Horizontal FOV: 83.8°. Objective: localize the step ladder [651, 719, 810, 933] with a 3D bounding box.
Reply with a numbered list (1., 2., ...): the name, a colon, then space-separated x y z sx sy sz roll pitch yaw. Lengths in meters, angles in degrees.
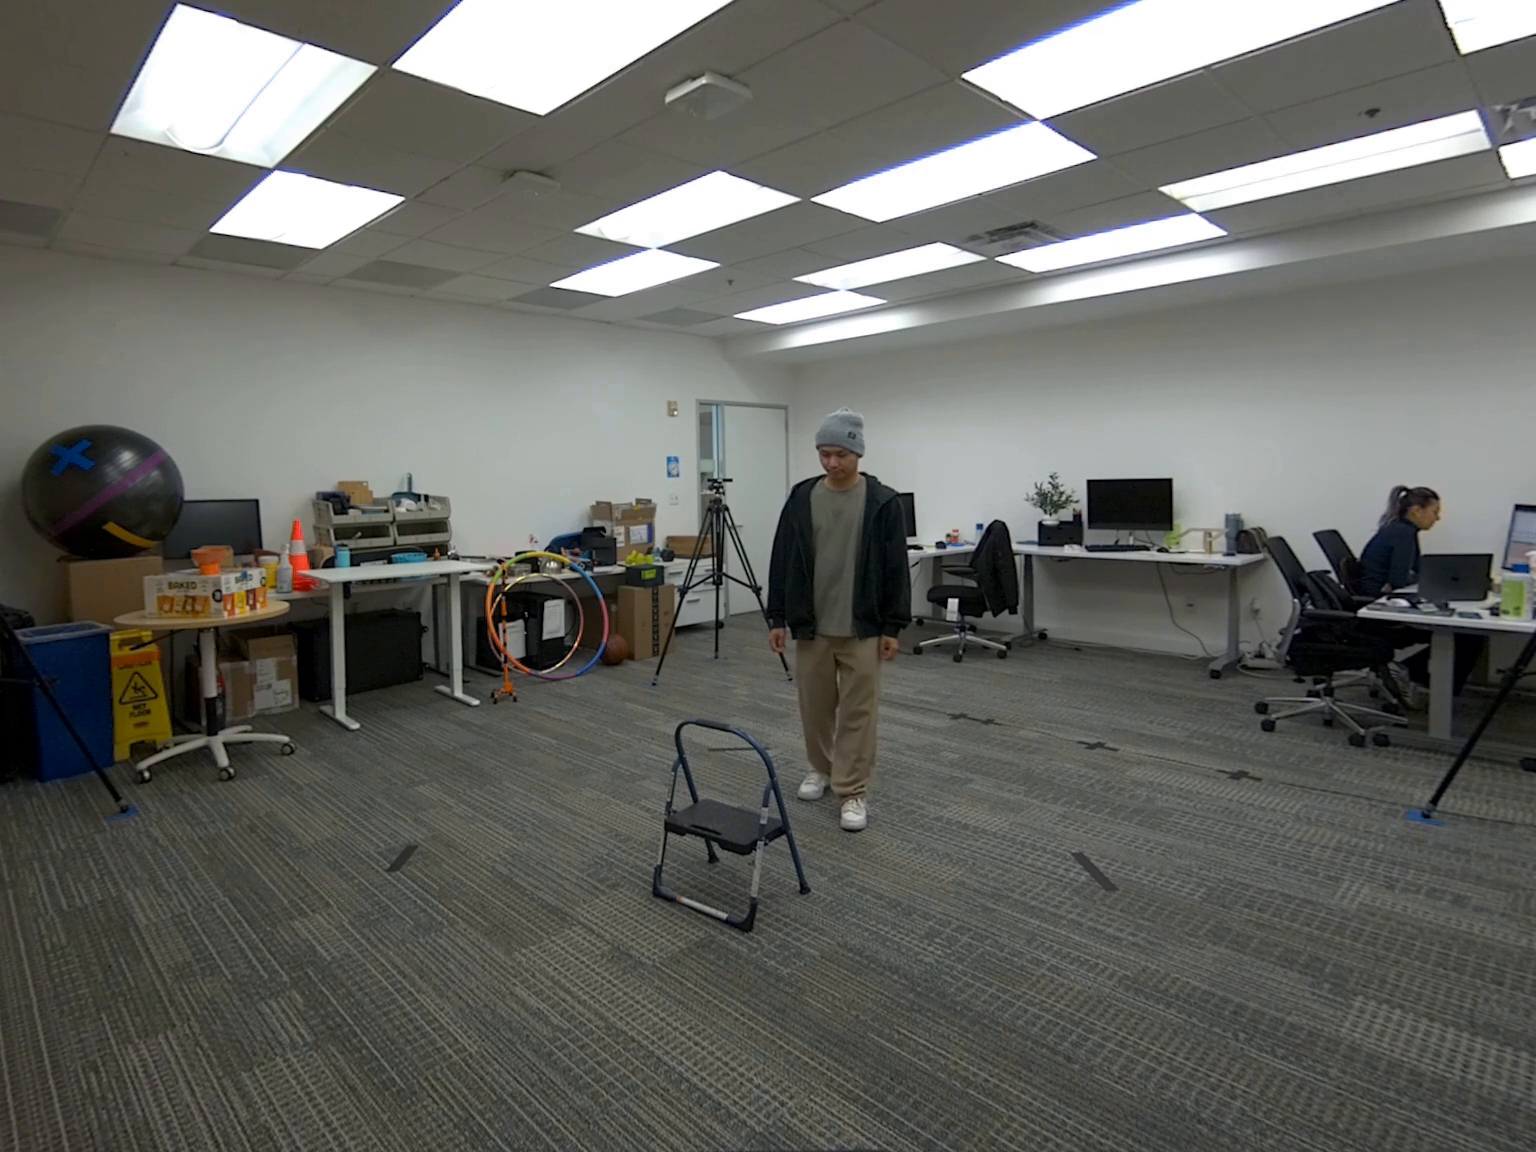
1. step ladder: -0.131 0.769 2.869 0.443 0.604 0.340 2 5 36
